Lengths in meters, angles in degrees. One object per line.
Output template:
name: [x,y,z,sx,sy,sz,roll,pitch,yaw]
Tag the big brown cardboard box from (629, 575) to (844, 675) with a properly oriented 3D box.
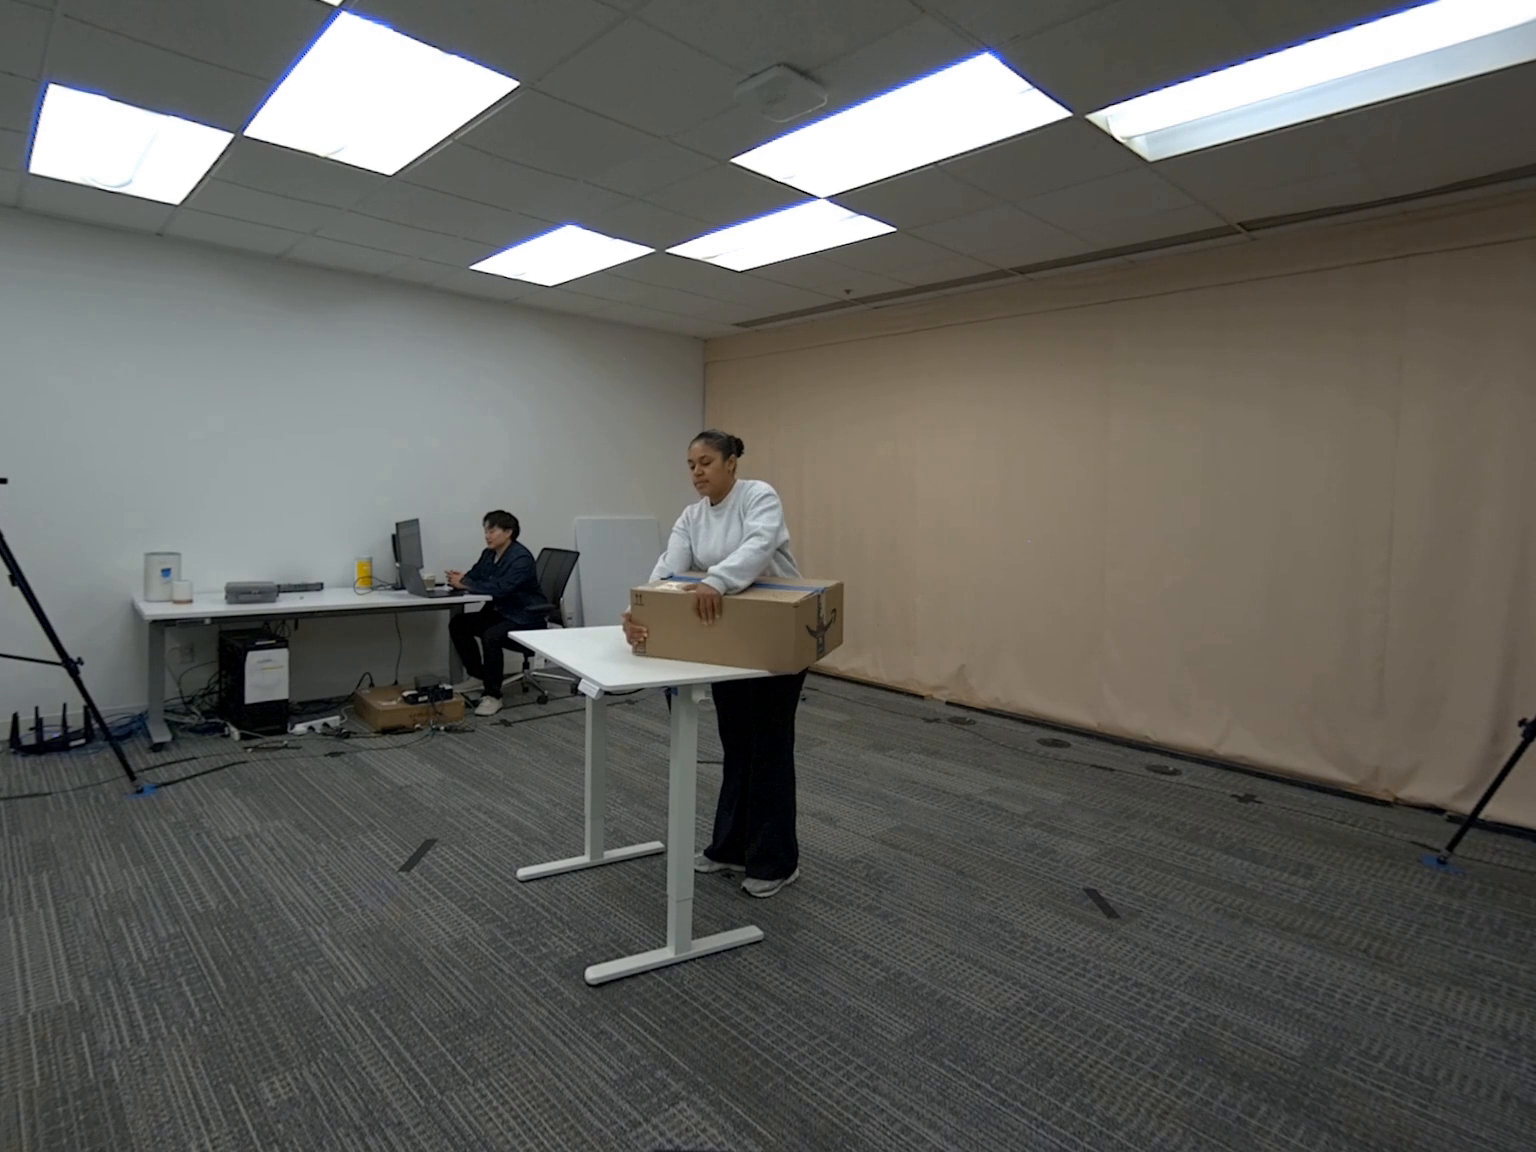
big brown cardboard box: [-0.099,0.137,2.732,0.600,0.232,0.412,5,9,24]
